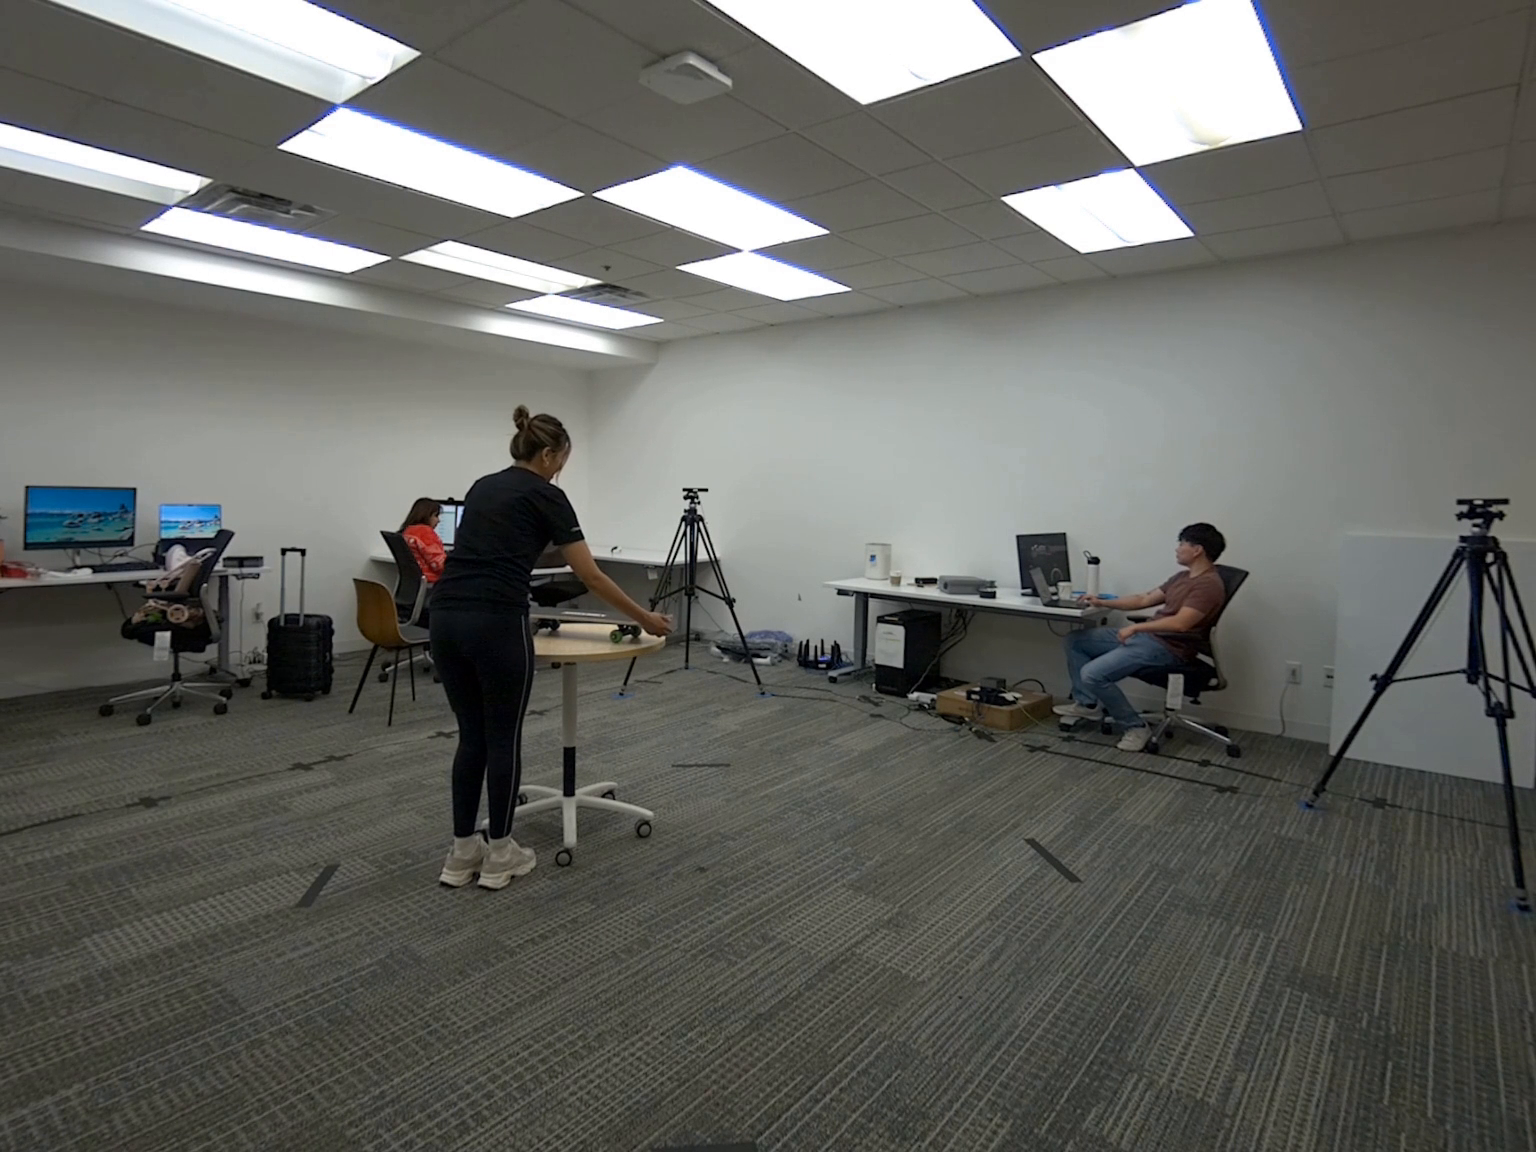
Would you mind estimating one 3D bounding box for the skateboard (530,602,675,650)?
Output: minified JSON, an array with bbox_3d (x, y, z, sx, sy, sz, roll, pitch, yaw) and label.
[{"bbox_3d":[-0.779,0.194,3.451,0.805,0.110,0.189,3,6,24],"label":"skateboard"}]
